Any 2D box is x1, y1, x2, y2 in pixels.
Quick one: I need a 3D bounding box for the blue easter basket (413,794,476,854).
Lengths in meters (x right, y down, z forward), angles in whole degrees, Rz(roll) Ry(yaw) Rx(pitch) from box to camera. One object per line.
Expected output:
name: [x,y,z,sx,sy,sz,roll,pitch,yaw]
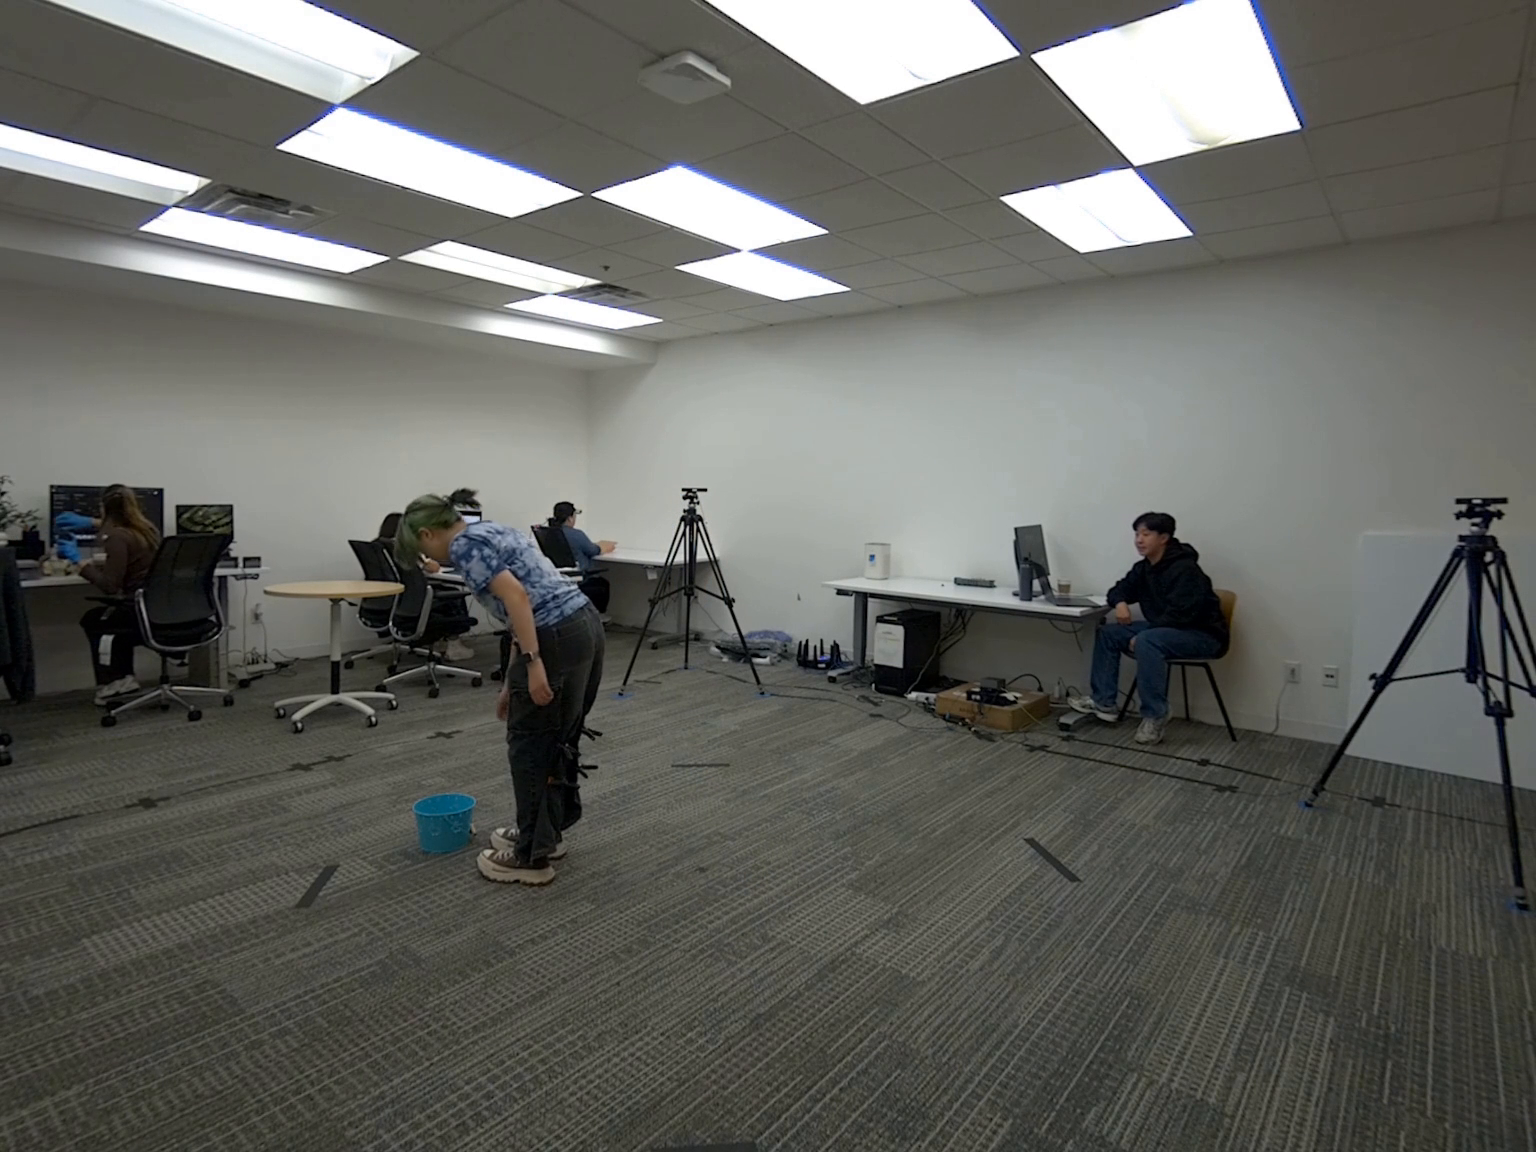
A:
blue easter basket: [-1.272,0.959,3.301,0.243,0.155,0.245,1,5,-2]
